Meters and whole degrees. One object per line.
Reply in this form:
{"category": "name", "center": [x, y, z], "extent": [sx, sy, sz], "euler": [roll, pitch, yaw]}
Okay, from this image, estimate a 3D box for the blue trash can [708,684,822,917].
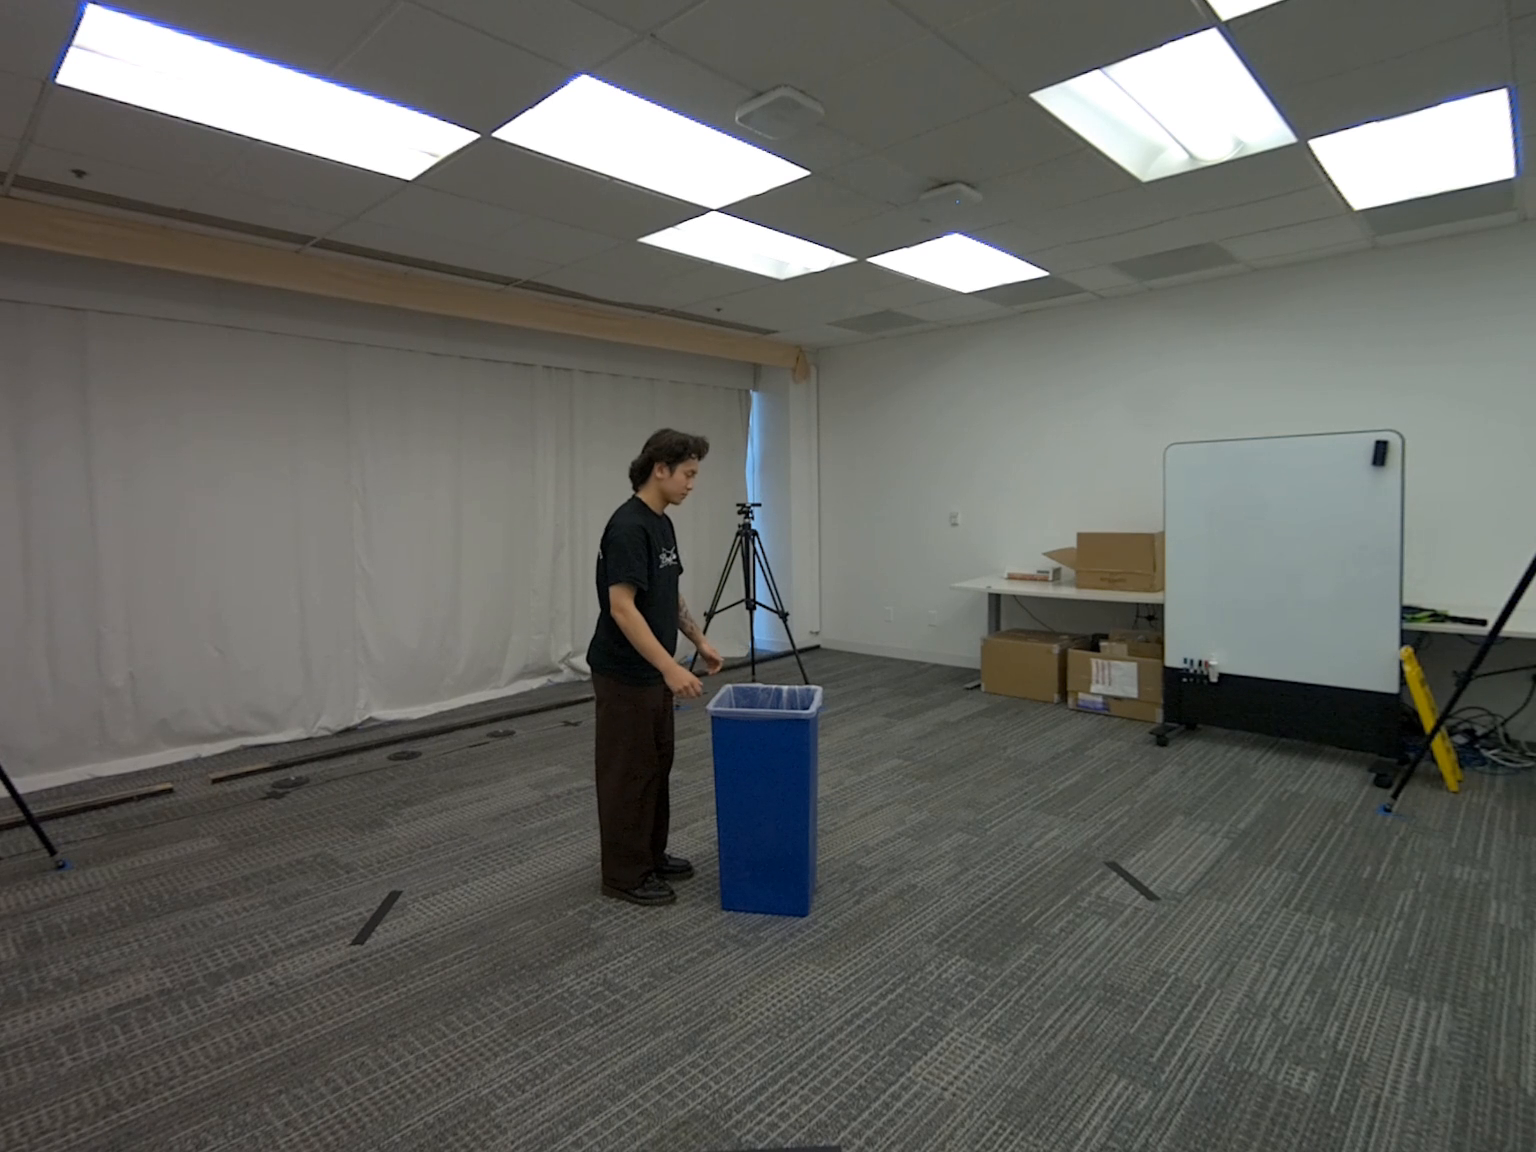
{"category": "blue trash can", "center": [0.005, 0.778, 2.970], "extent": [0.383, 0.712, 0.370], "euler": [0, 3, 10]}
